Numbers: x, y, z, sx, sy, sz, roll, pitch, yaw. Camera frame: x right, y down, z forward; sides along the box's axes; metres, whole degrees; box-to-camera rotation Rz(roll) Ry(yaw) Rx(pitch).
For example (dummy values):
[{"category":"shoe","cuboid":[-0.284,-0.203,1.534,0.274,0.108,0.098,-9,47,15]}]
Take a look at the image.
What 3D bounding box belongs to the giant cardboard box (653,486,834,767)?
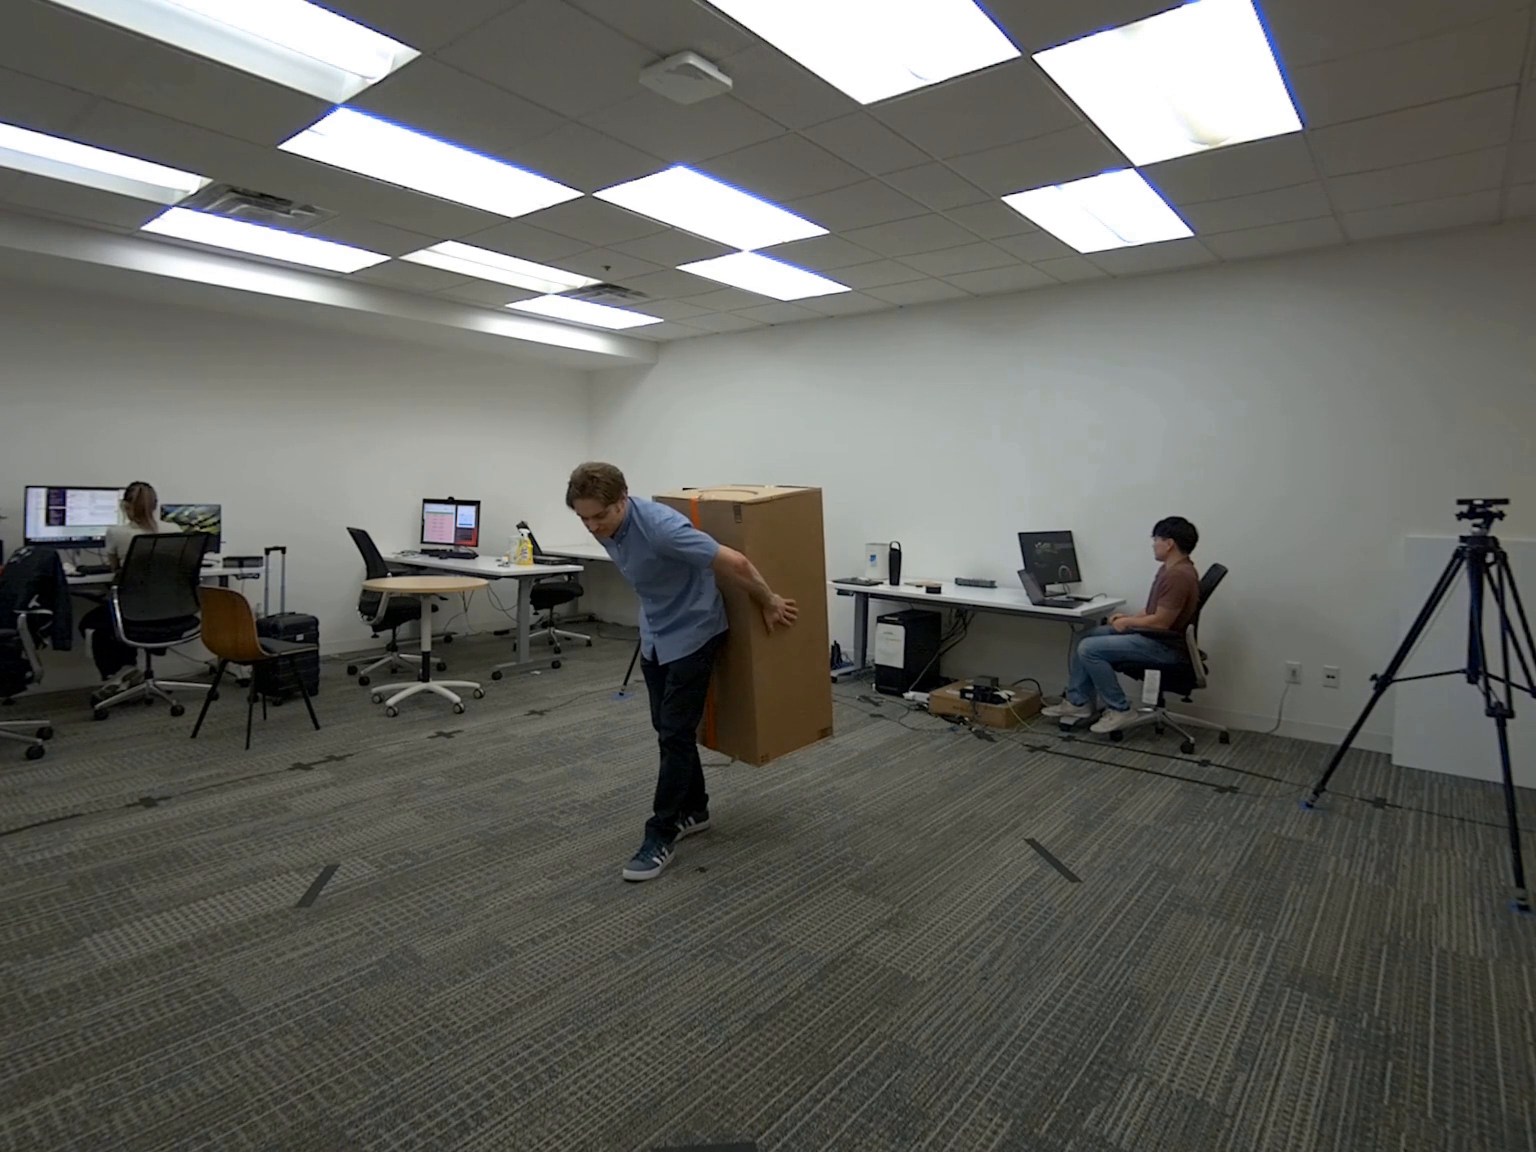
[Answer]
[{"category":"giant cardboard box","cuboid":[-0.113,0.161,3.485,0.435,1.018,0.604,-10,11,-41]}]
